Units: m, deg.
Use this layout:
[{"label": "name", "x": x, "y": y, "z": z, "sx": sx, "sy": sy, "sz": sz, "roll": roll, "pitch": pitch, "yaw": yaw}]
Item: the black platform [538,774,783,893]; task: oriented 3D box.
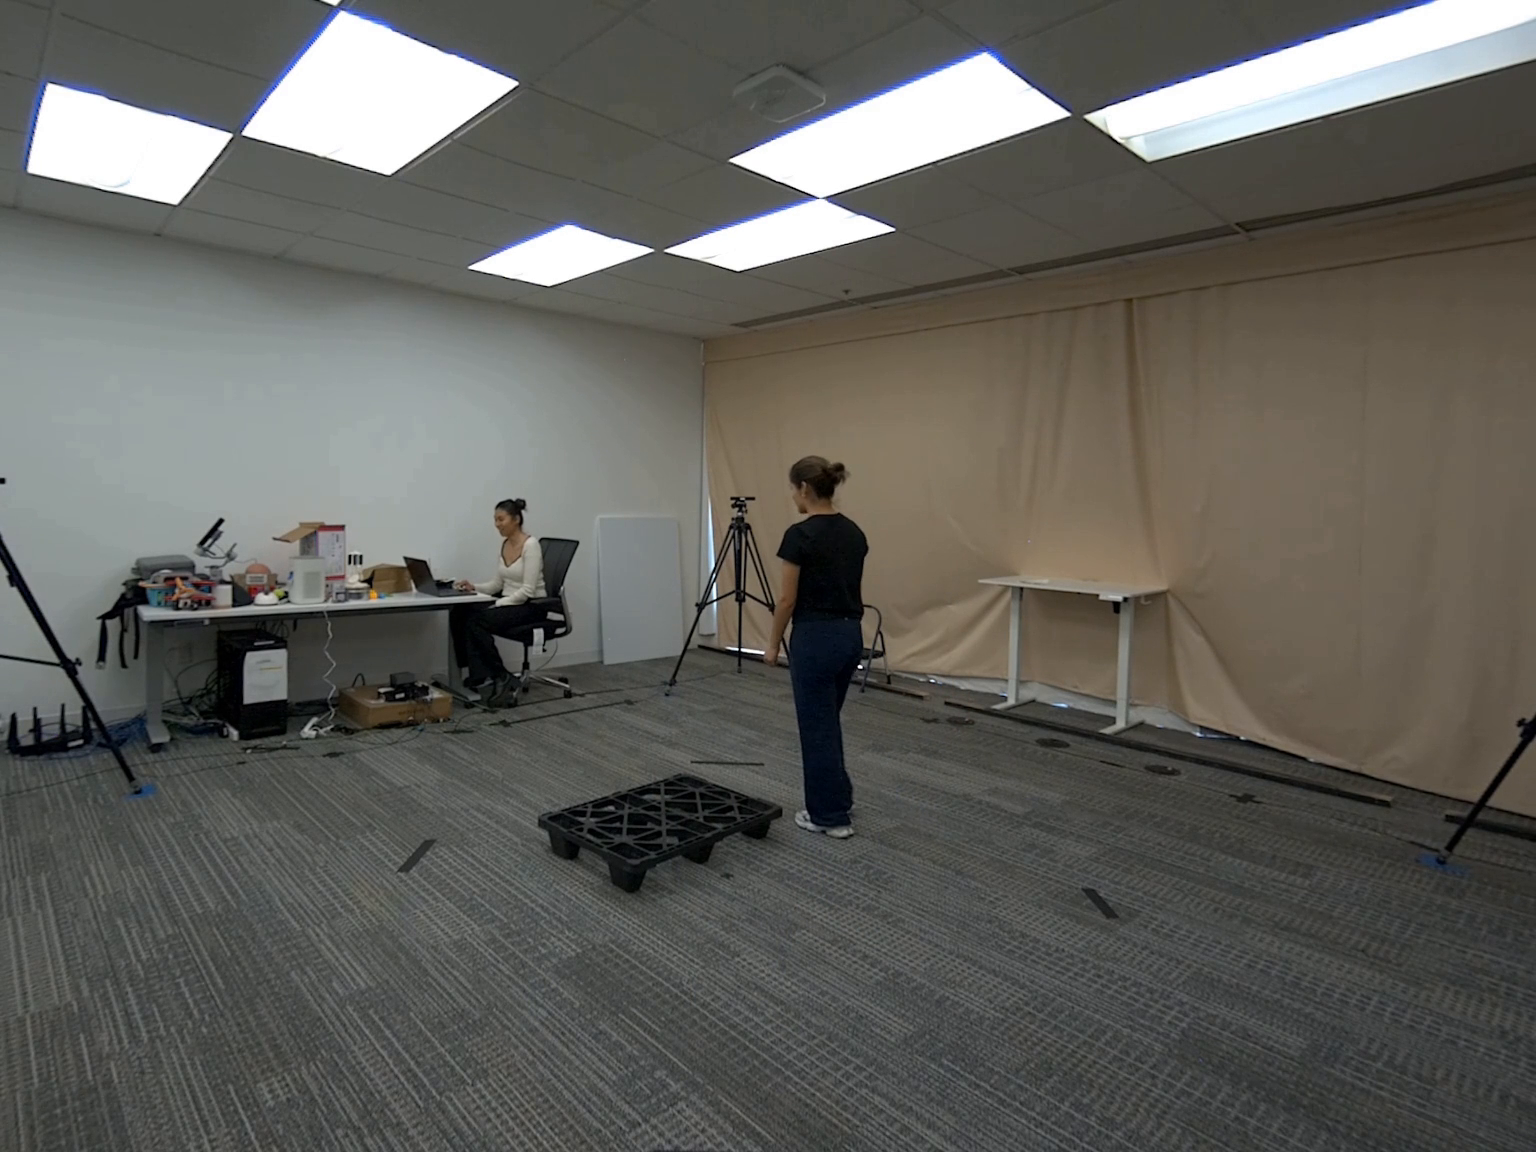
[{"label": "black platform", "x": -0.428, "y": 1.013, "z": 3.352, "sx": 0.620, "sy": 0.143, "sz": 0.787, "roll": 5, "pitch": 6, "yaw": 41}]
